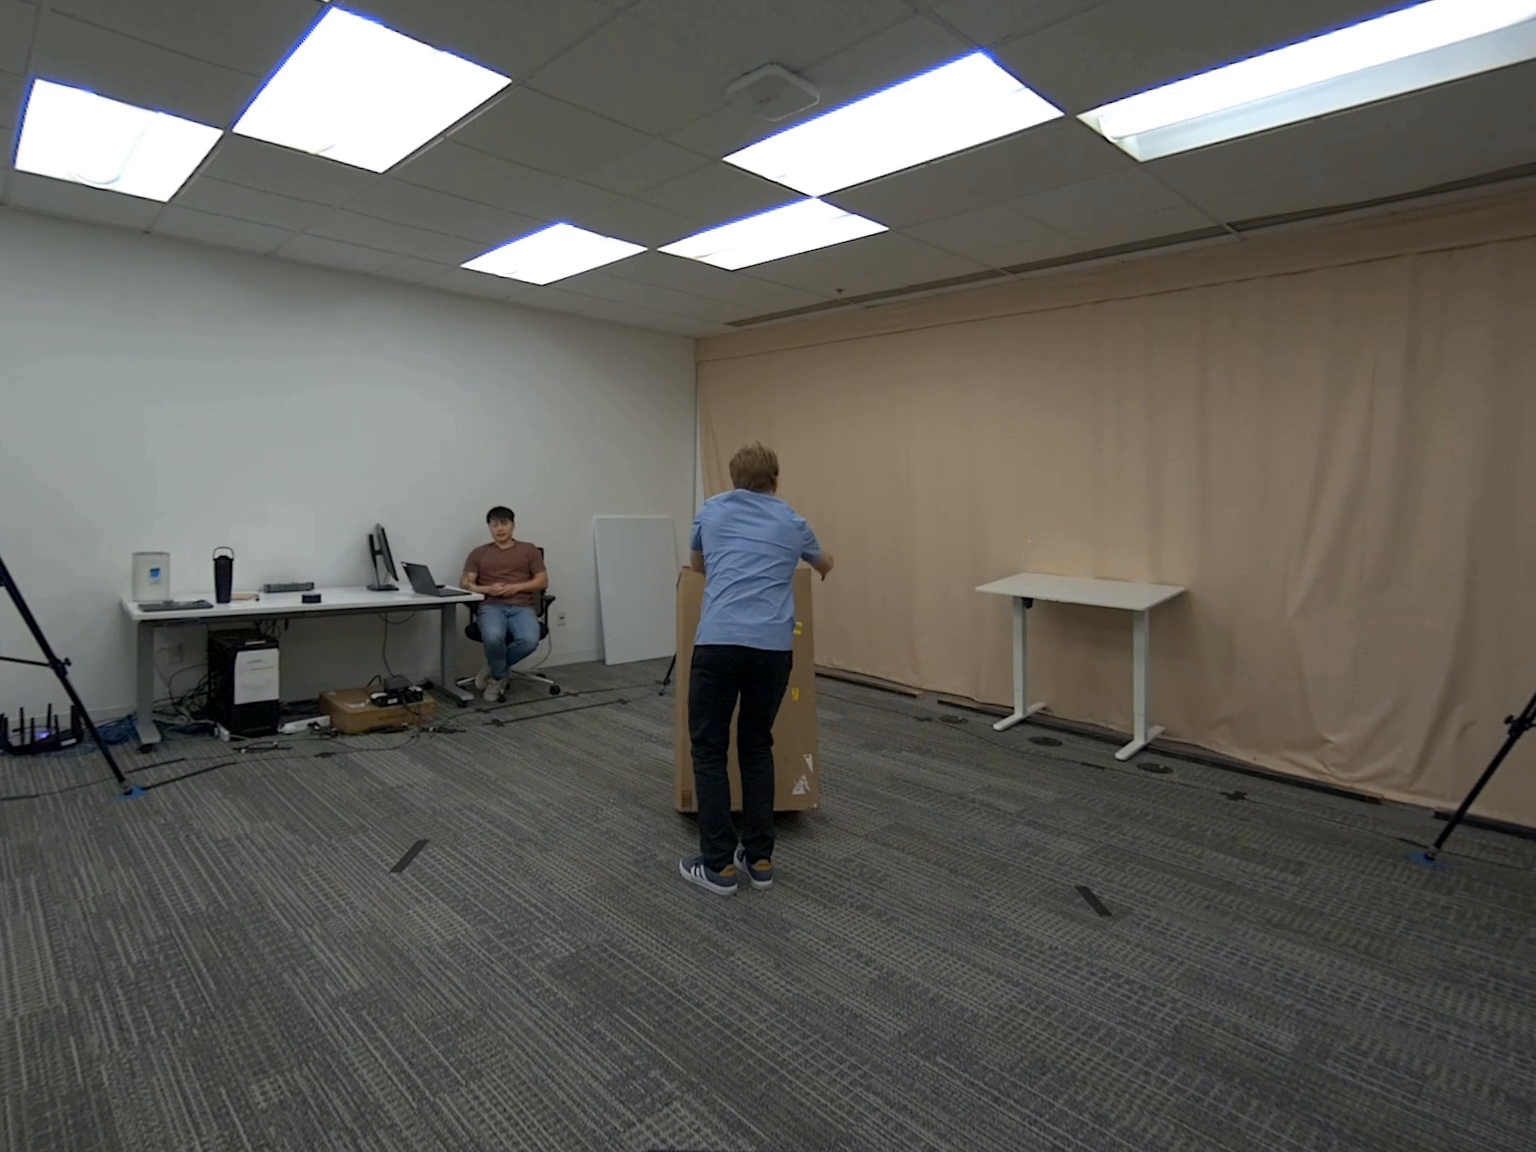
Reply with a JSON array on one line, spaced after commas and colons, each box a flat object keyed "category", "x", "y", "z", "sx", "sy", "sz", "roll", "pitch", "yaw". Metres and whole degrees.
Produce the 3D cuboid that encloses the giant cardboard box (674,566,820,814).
[{"category": "giant cardboard box", "x": -0.119, "y": 0.500, "z": 3.743, "sx": 0.581, "sy": 1.038, "sz": 0.444, "roll": 0, "pitch": -14, "yaw": -6}]
